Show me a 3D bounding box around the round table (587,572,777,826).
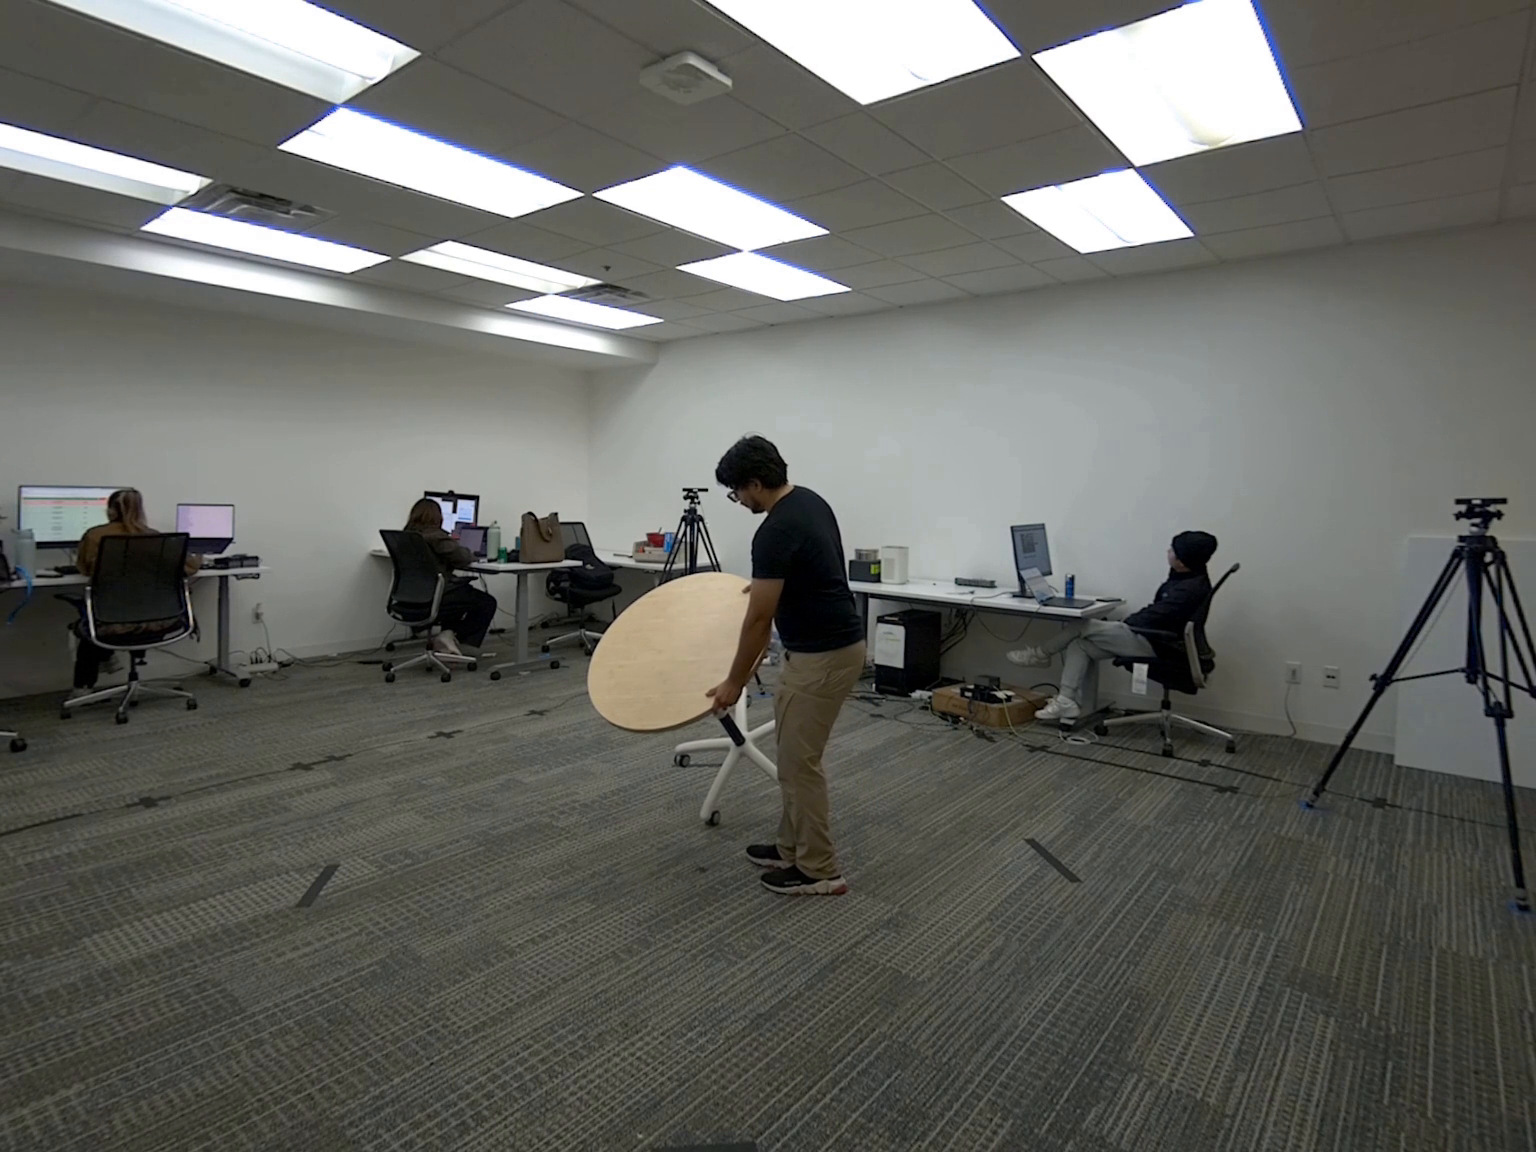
[{"bbox_3d":[-0.219,0.519,3.492,0.793,0.756,0.808,-18,39,13],"label":"round table"}]
